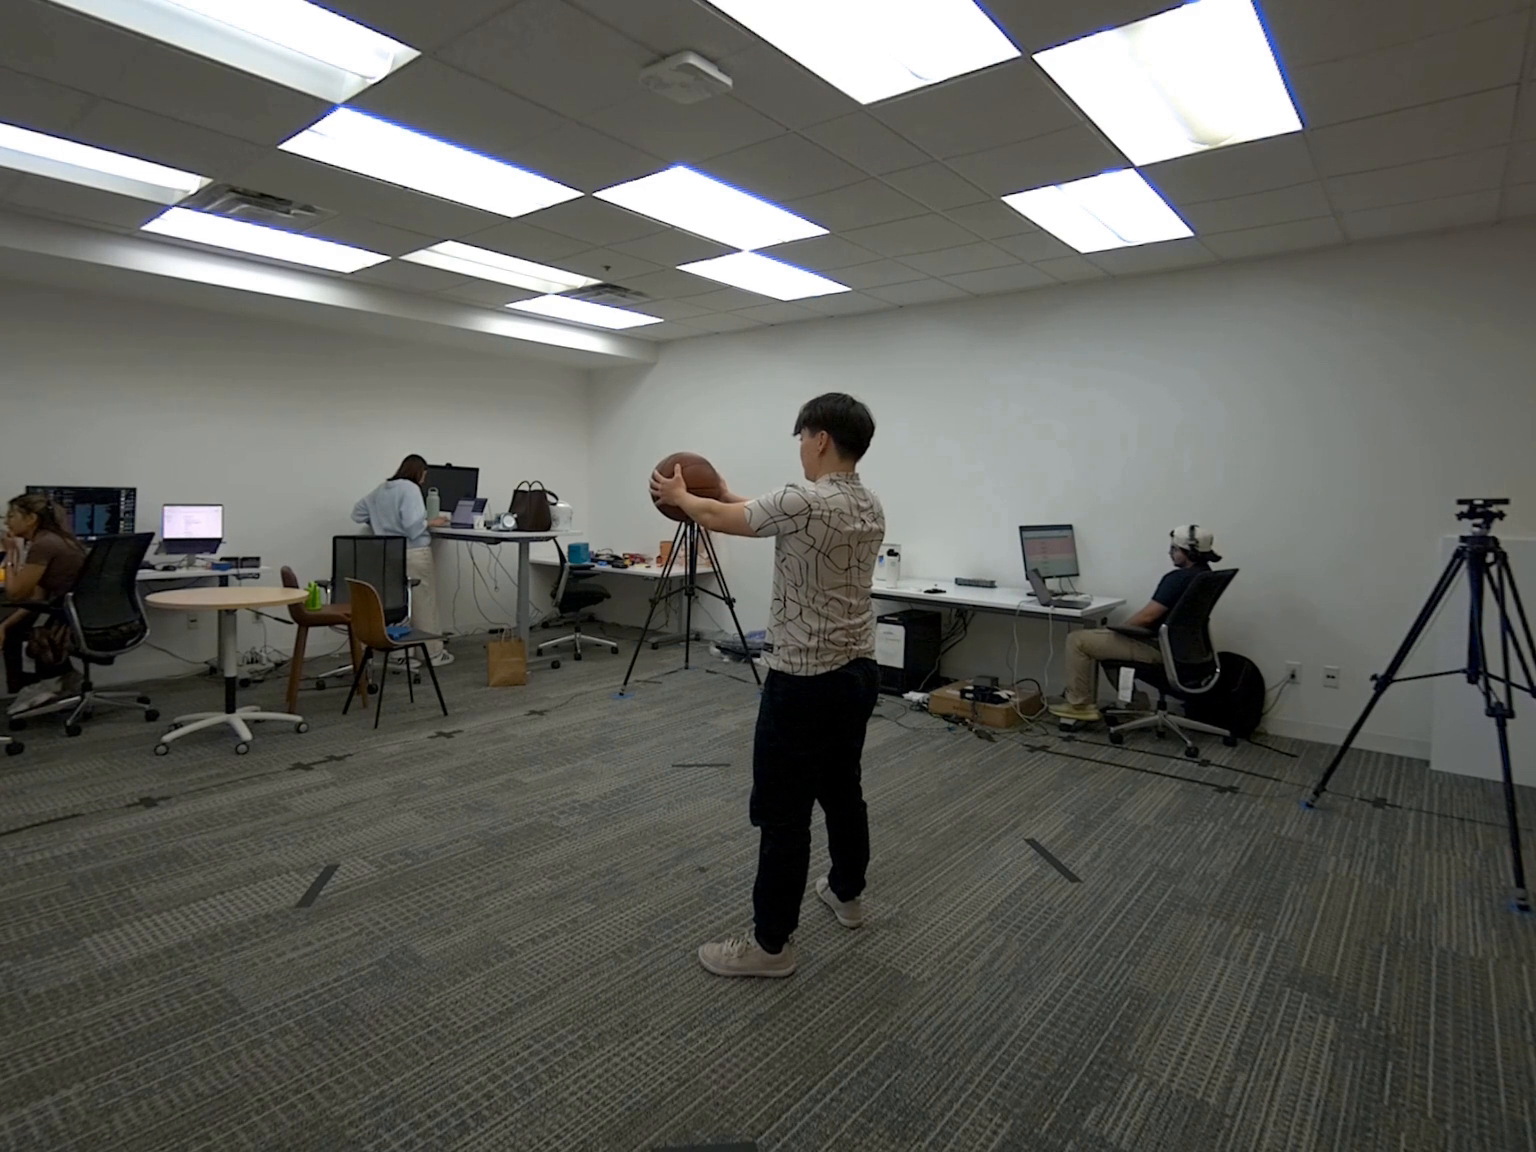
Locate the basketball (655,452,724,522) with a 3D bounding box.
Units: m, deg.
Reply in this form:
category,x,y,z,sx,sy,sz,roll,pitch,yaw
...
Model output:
category,x,y,z,sx,sy,sz,roll,pitch,yaw
basketball,-0.294,-0.315,2.907,0.235,0.235,0.237,1,4,-2
